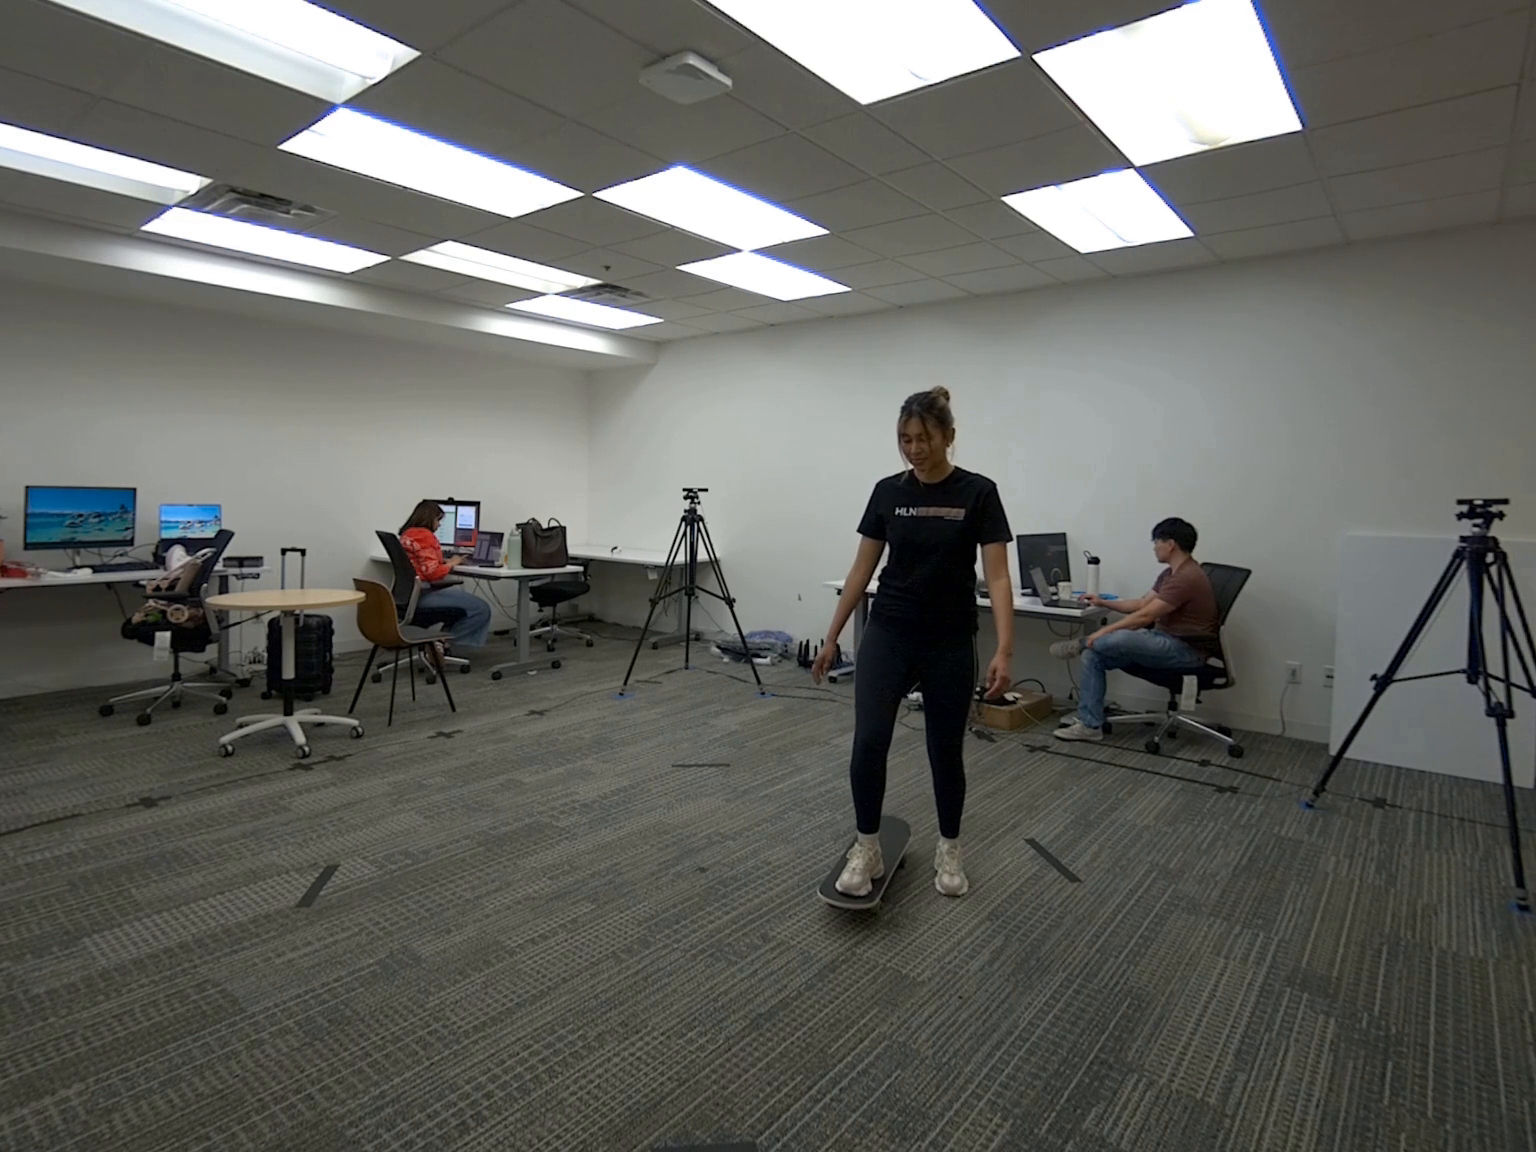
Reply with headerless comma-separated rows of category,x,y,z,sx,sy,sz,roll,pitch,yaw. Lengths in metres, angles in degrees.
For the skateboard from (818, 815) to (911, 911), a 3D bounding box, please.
skateboard,0.348,1.032,3.017,0.198,0.110,0.770,4,7,21
